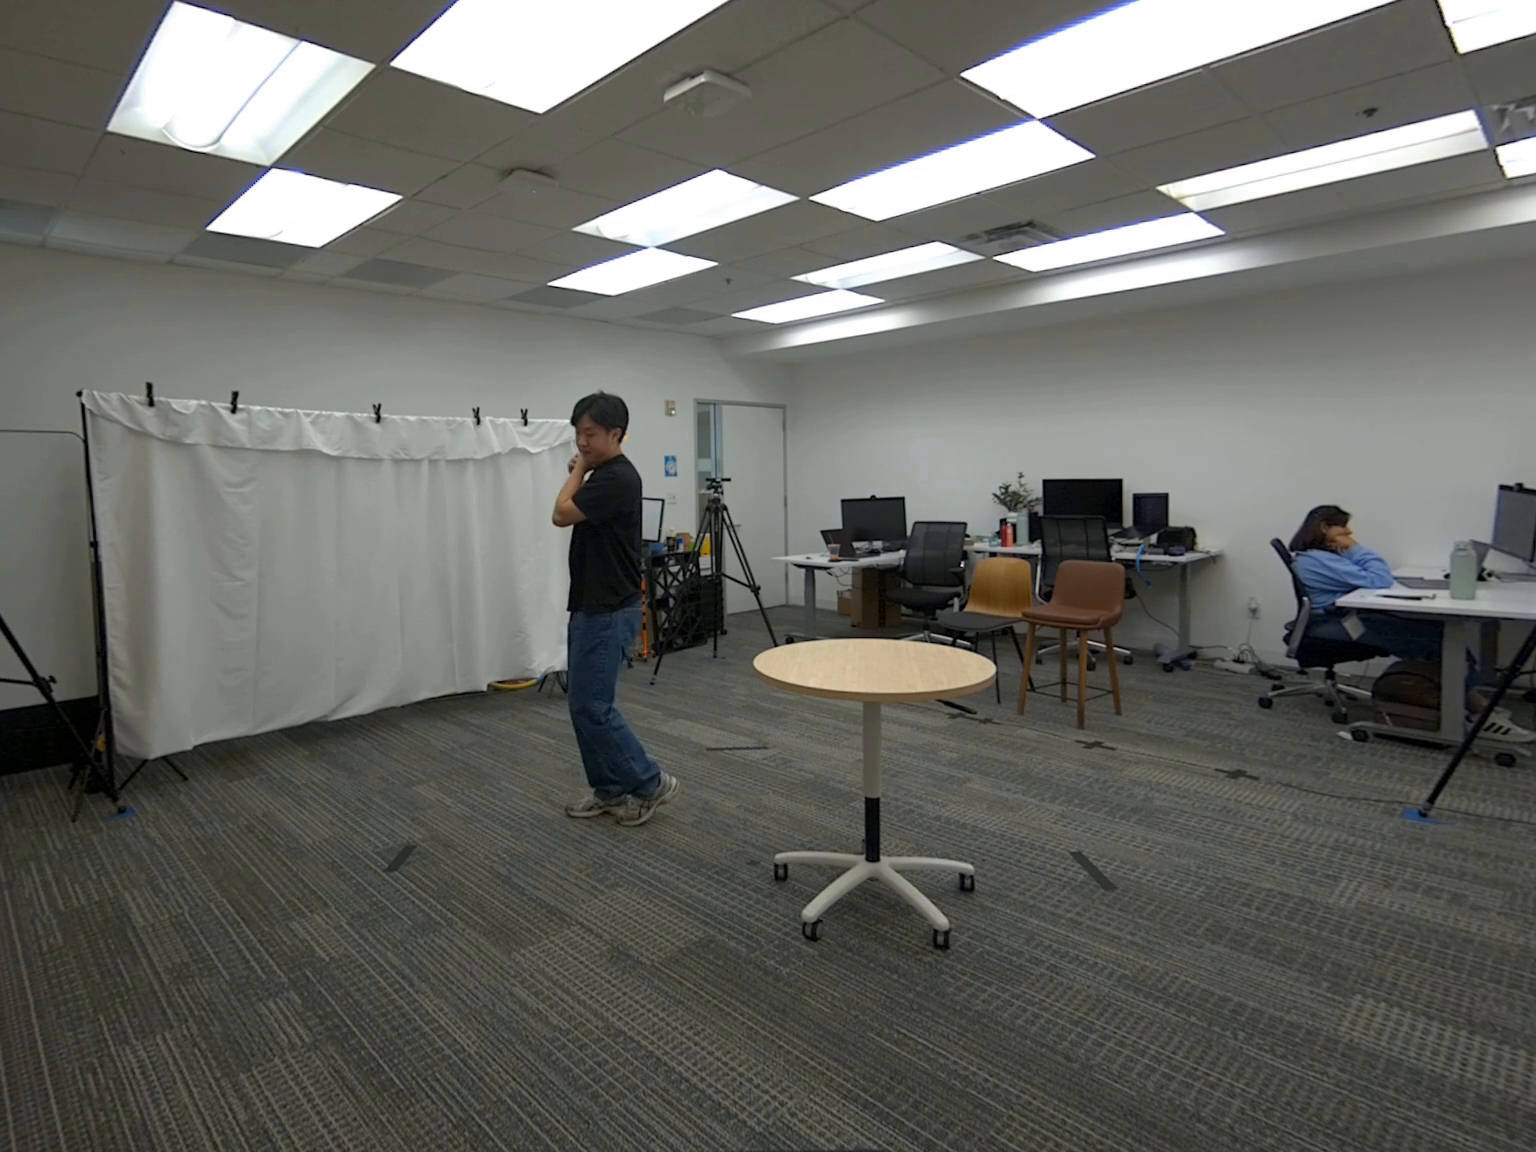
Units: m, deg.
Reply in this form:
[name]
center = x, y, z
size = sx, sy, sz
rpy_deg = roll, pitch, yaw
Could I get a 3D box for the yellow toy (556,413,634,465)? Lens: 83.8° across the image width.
[yellow toy]
center = -0.731, -0.590, 3.616
size = 0.190, 0.228, 0.210
rpy_deg = -22, 14, -42
